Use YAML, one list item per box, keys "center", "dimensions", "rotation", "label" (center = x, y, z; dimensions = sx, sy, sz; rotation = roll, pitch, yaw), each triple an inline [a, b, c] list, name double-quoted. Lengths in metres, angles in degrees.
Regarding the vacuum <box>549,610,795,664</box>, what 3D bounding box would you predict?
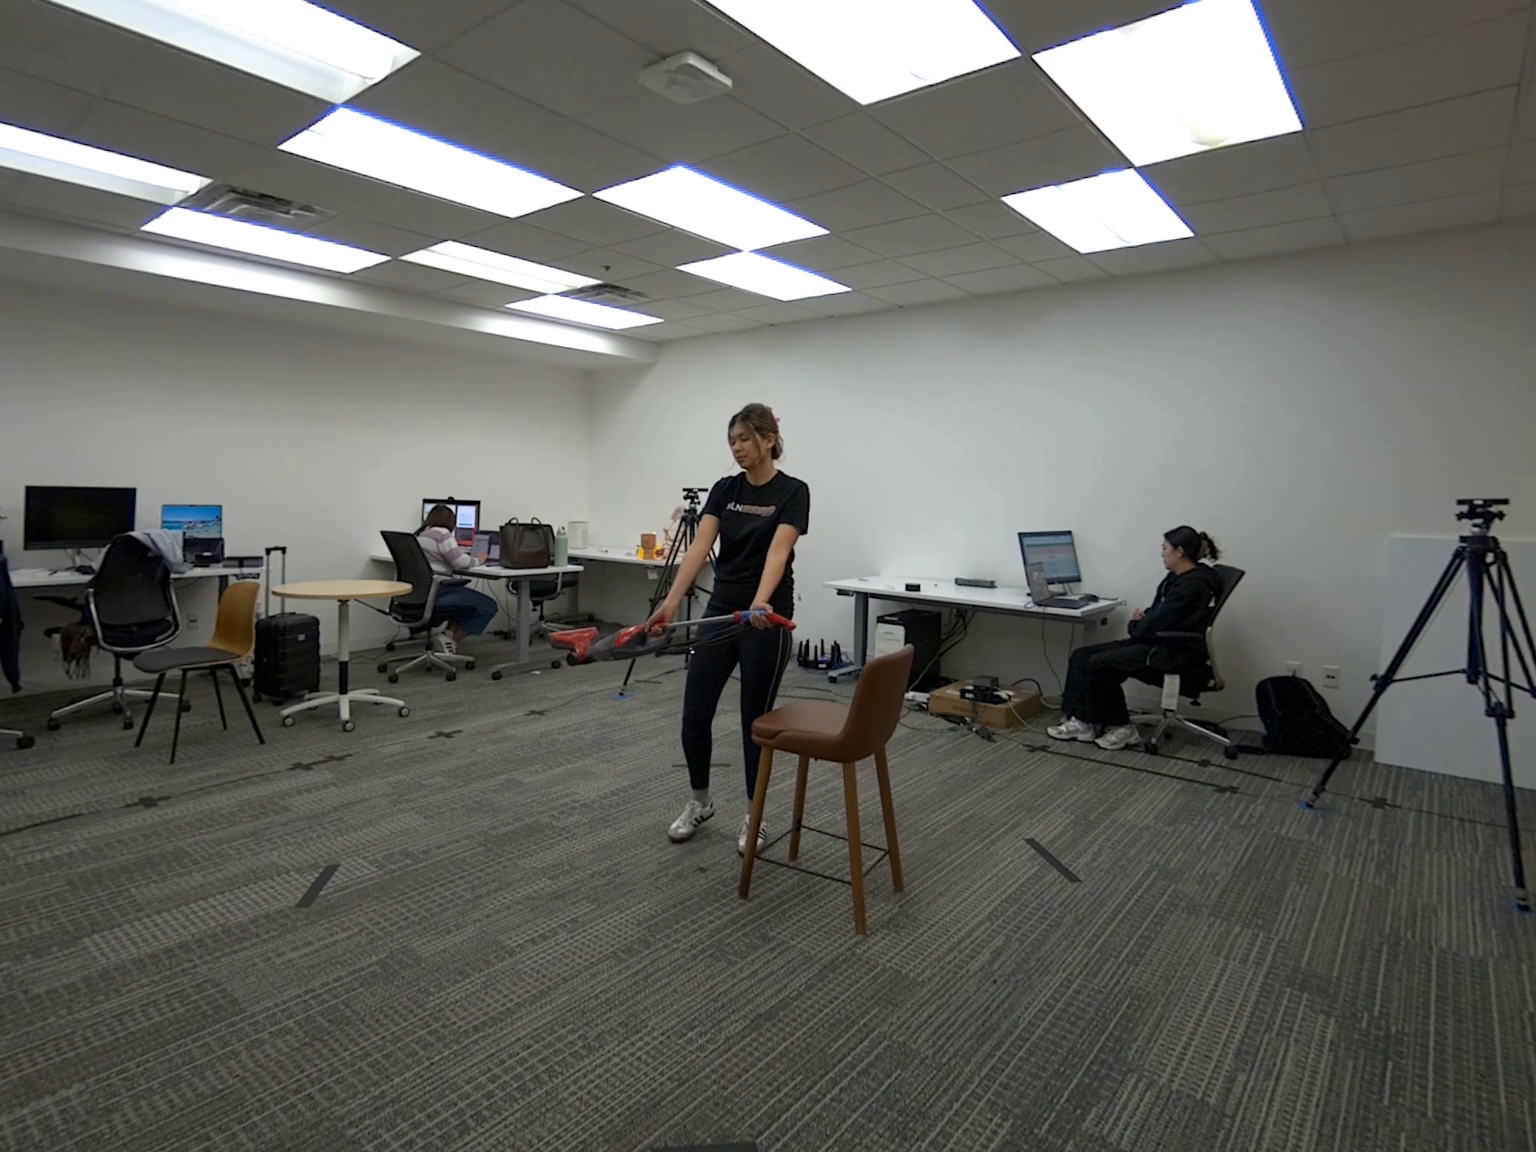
- center: [-0.369, 0.233, 3.064]
  dimensions: [1.077, 0.145, 0.245]
  rotation: [-7, -4, 39]
  label: "vacuum"
